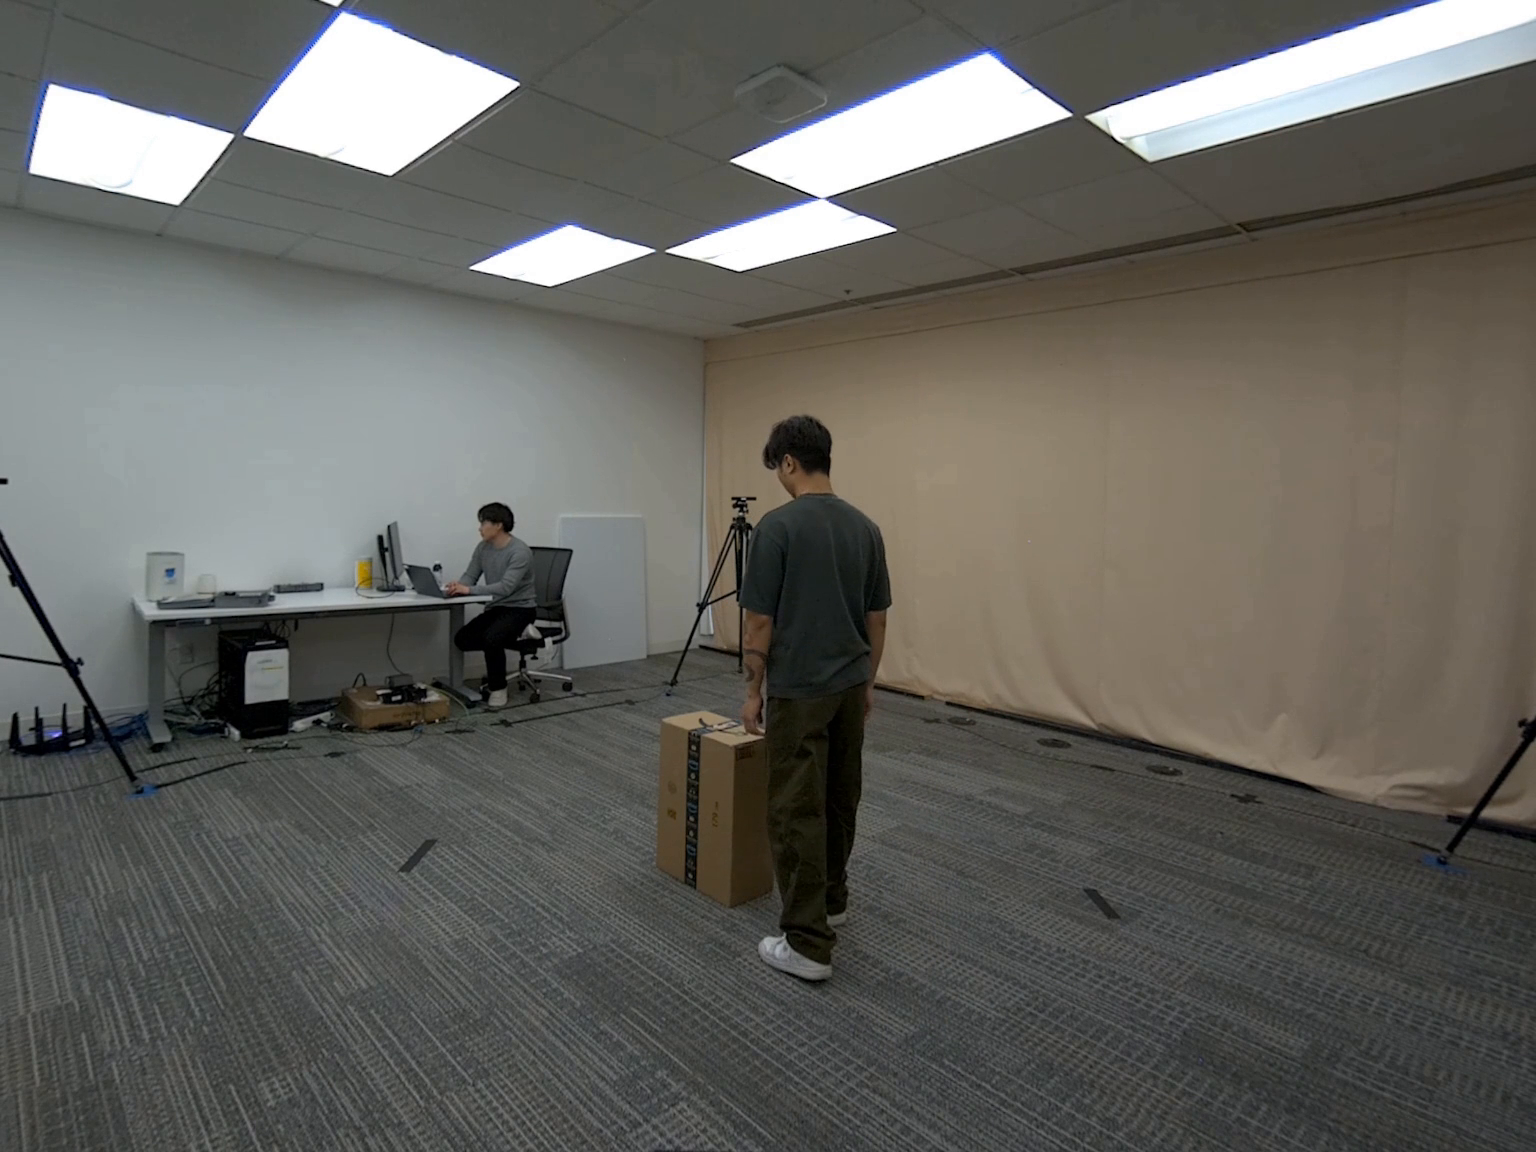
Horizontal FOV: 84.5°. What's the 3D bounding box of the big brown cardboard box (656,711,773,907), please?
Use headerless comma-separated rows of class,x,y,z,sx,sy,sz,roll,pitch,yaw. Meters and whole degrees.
big brown cardboard box,-0.194,0.823,3.062,0.228,0.587,0.428,-1,5,-43
